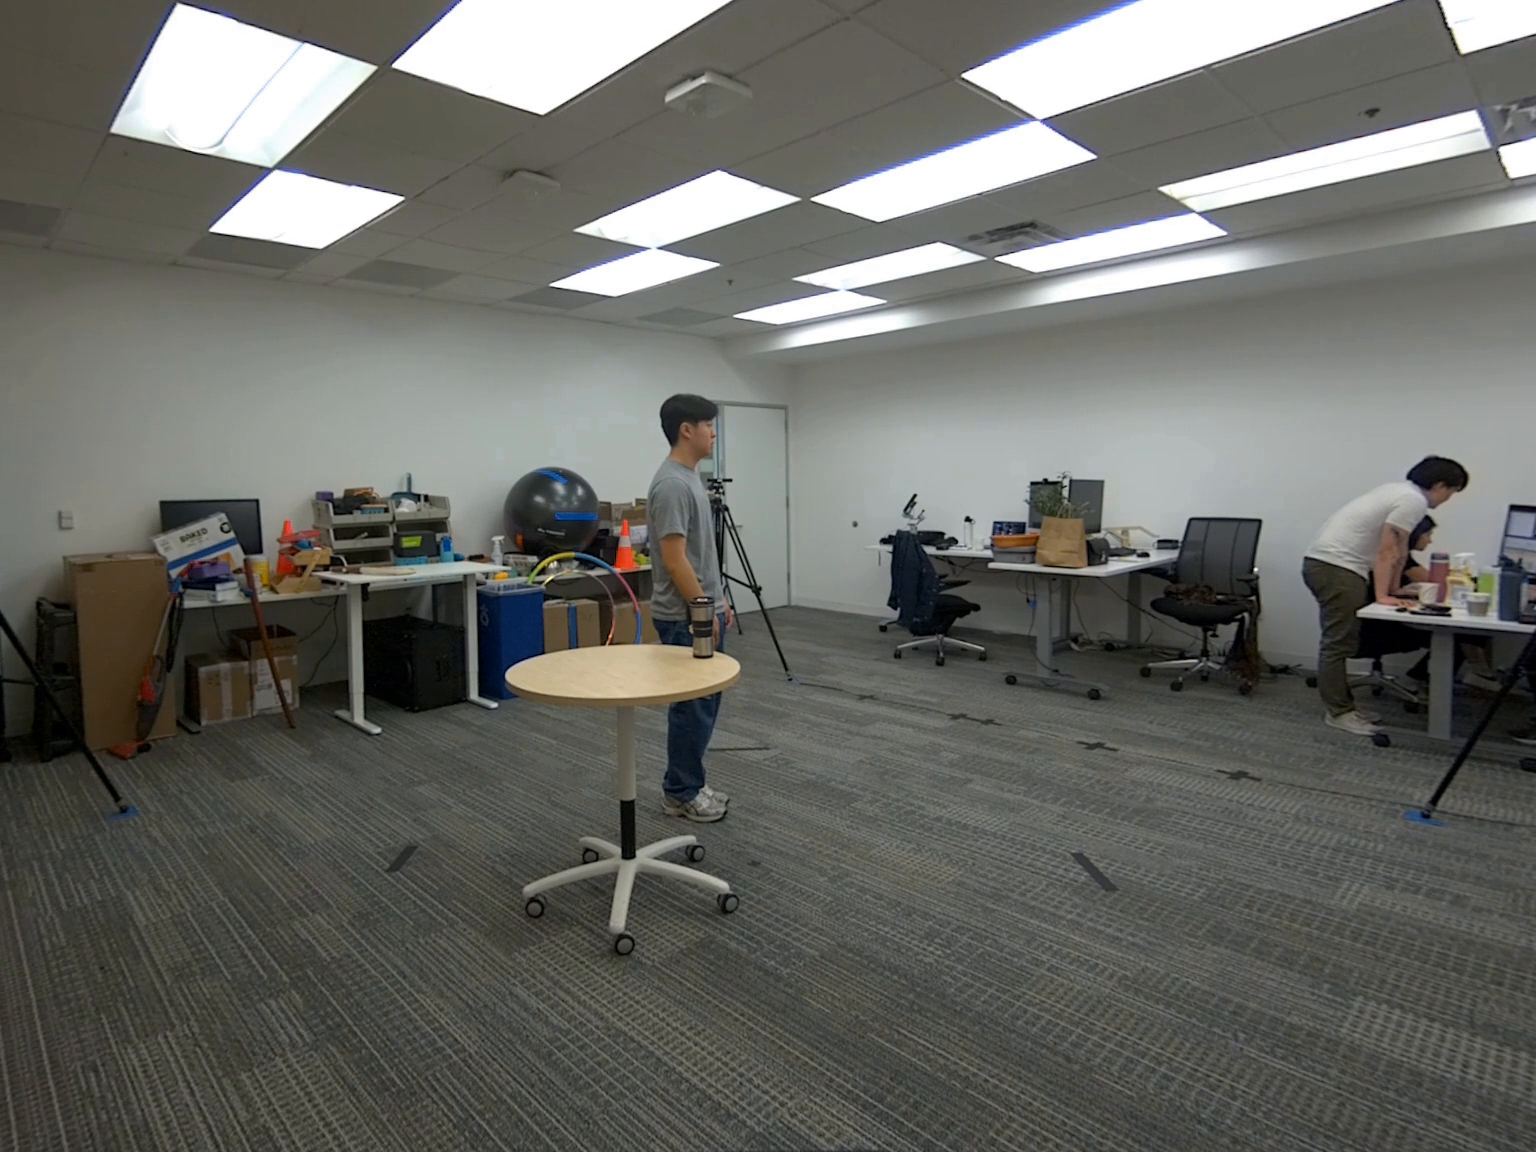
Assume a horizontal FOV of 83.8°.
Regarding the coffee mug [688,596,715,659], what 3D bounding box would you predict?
[{"bbox_3d":[-0.237,0.183,2.987,0.086,0.202,0.125,-6,7,-26],"label":"coffee mug"}]
